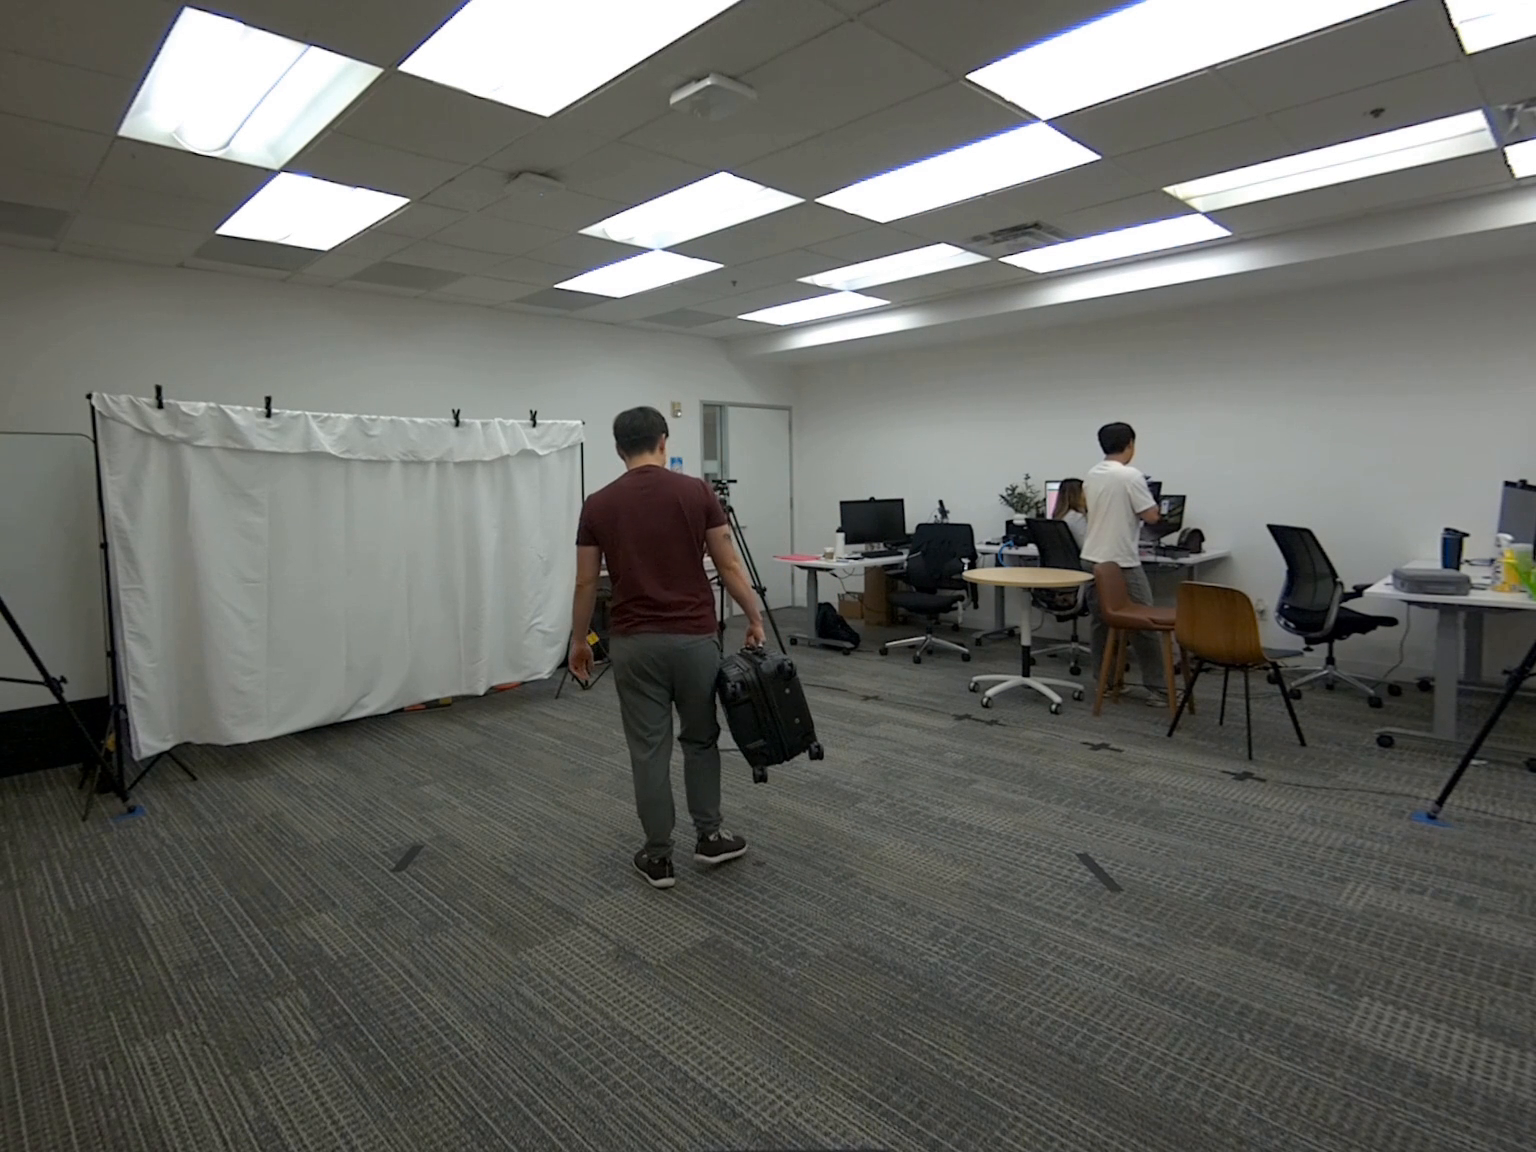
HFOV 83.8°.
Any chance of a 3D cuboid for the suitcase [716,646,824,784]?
[{"bbox_3d":[-0.063,0.461,3.312,0.255,0.383,0.987,-18,3,-12],"label":"suitcase"}]
